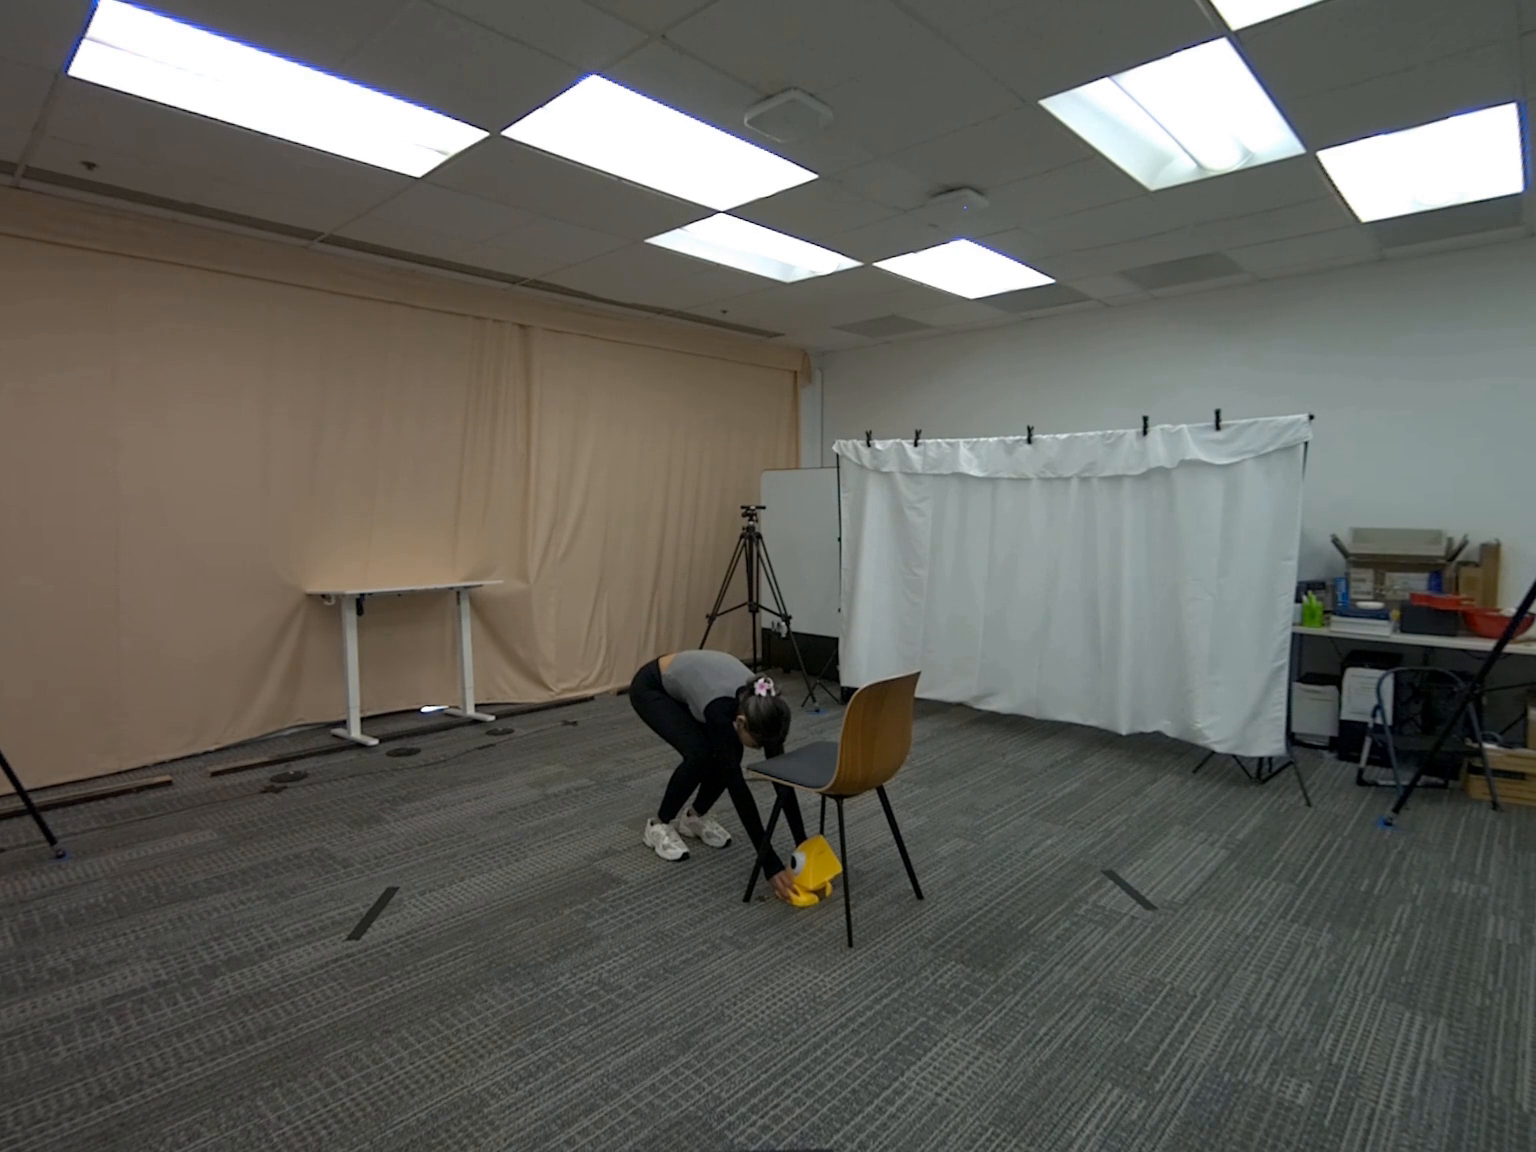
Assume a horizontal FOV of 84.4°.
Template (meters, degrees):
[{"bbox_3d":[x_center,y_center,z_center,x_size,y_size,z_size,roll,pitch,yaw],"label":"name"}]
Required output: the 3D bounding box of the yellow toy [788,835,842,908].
[{"bbox_3d":[0.136,1.026,3.021,0.199,0.230,0.199,3,7,42],"label":"yellow toy"}]
